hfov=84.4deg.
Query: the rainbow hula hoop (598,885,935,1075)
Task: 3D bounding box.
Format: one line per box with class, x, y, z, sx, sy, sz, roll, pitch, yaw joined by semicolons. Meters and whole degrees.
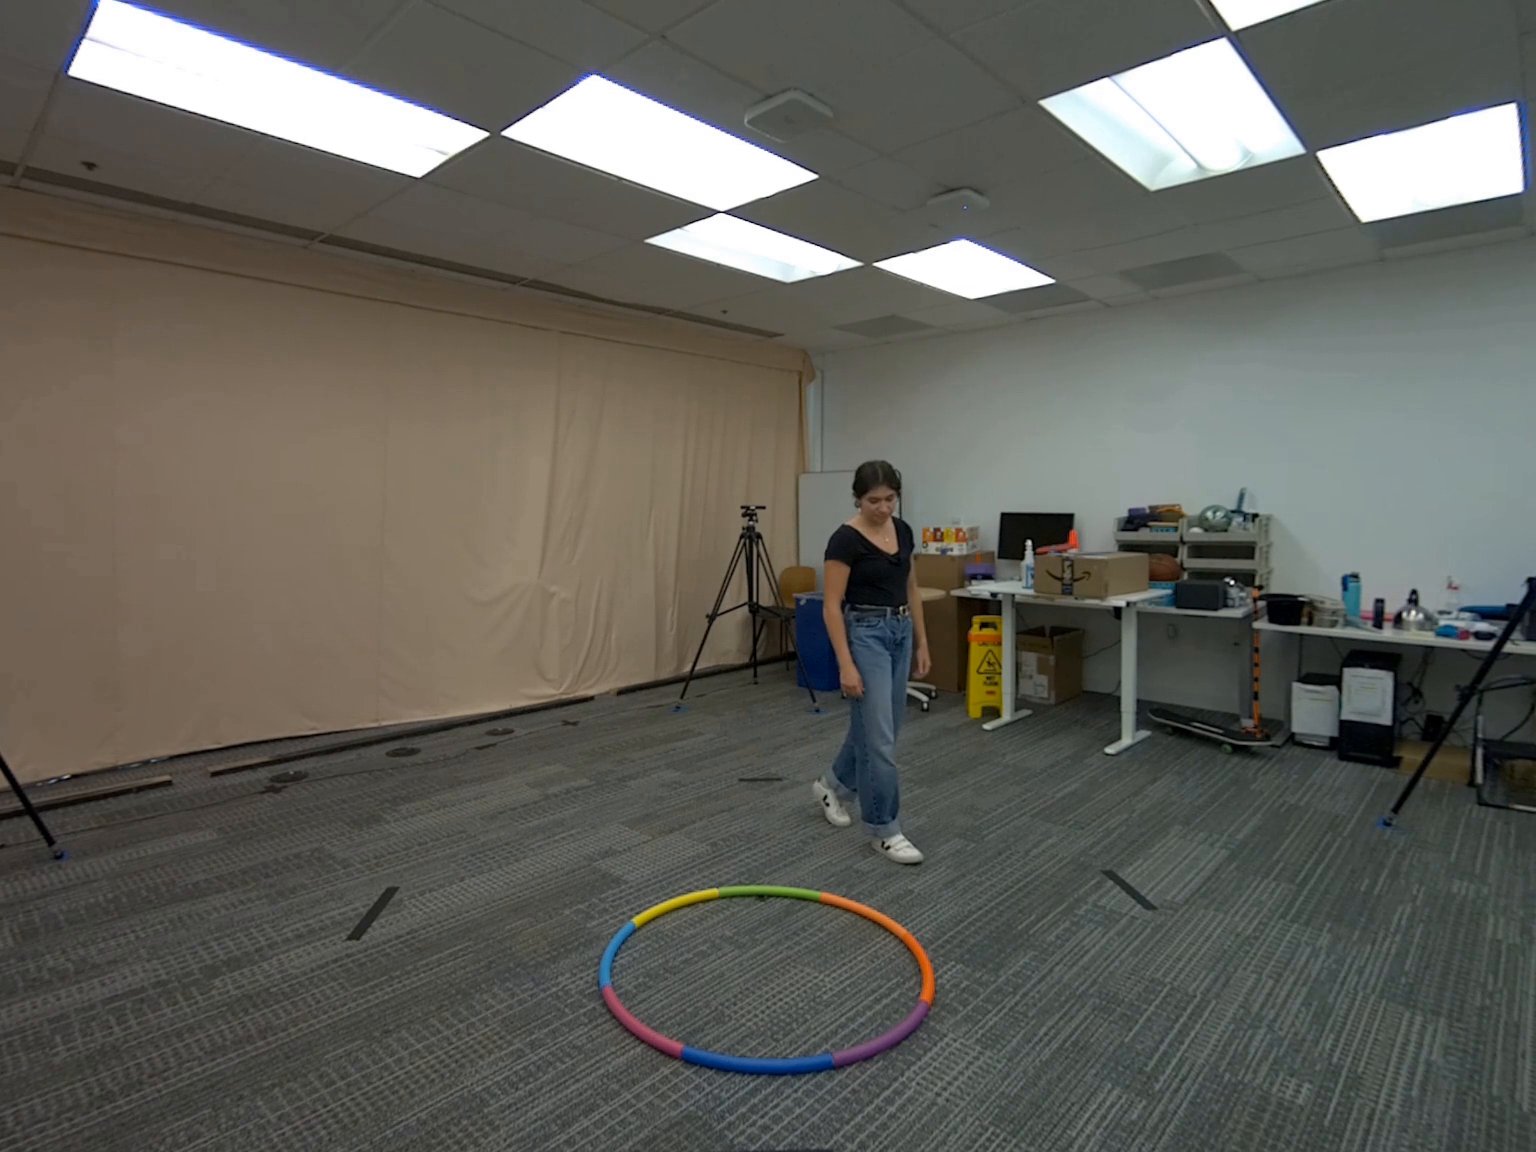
rainbow hula hoop;-0.001;1.152;2.542;0.978;0.035;0.982;0;5;-2
